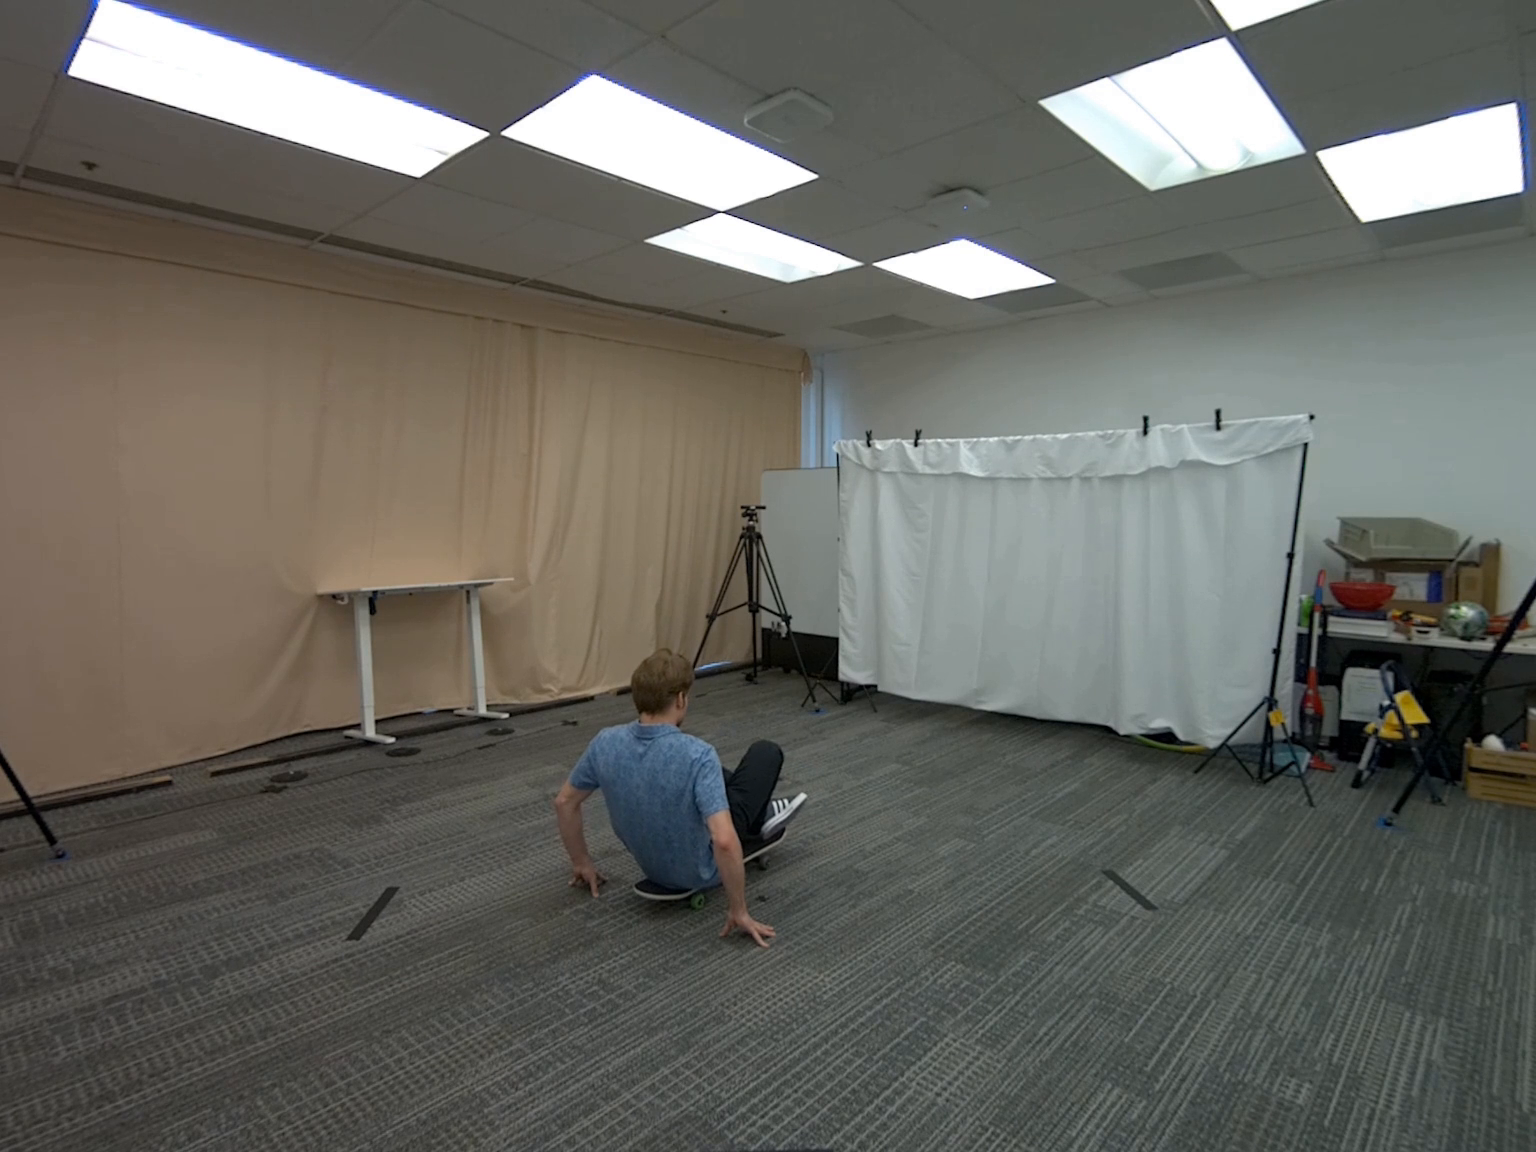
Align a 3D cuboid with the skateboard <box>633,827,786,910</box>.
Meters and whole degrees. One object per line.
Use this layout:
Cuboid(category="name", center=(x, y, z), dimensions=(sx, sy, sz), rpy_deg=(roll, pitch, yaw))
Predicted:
Cuboid(category="skateboard", center=(-0.195, 1.088, 3.128), dimensions=(0.199, 0.110, 0.763), rpy_deg=(-3, 3, 34))
